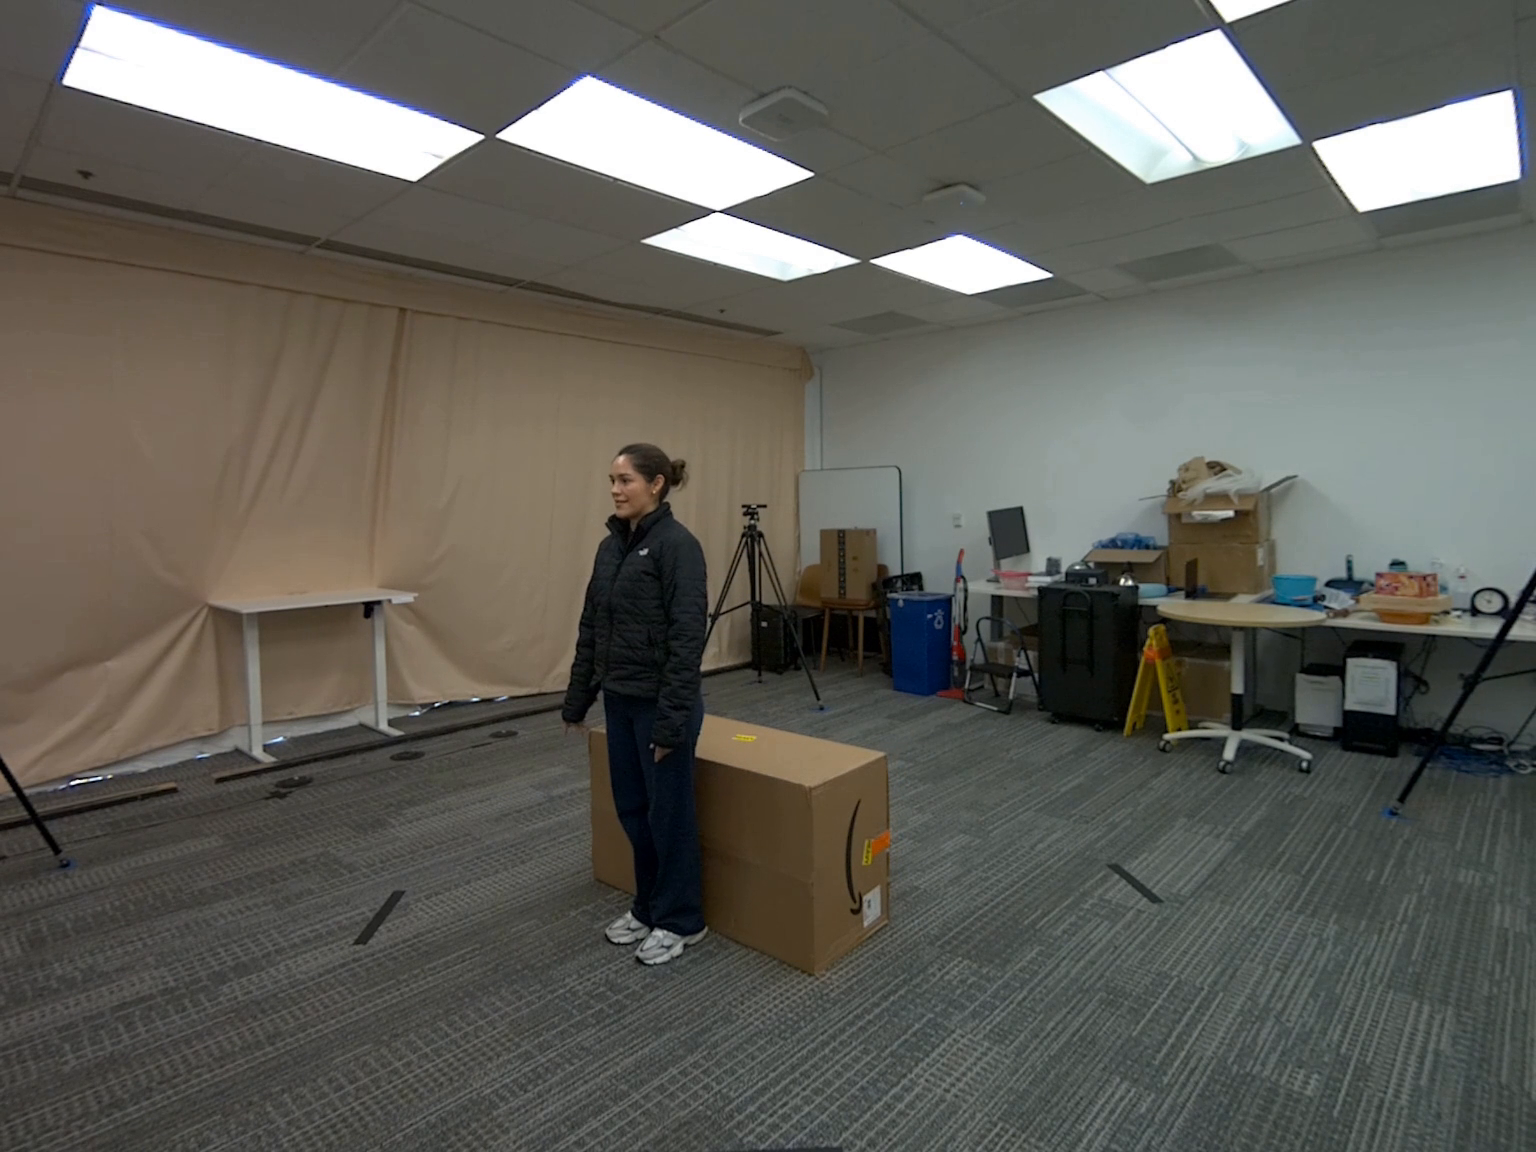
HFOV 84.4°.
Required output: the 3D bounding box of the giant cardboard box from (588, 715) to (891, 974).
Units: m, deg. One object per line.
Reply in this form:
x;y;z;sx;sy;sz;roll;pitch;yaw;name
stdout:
-0.116;0.859;2.962;1.060;0.576;0.413;3;6;41;giant cardboard box
